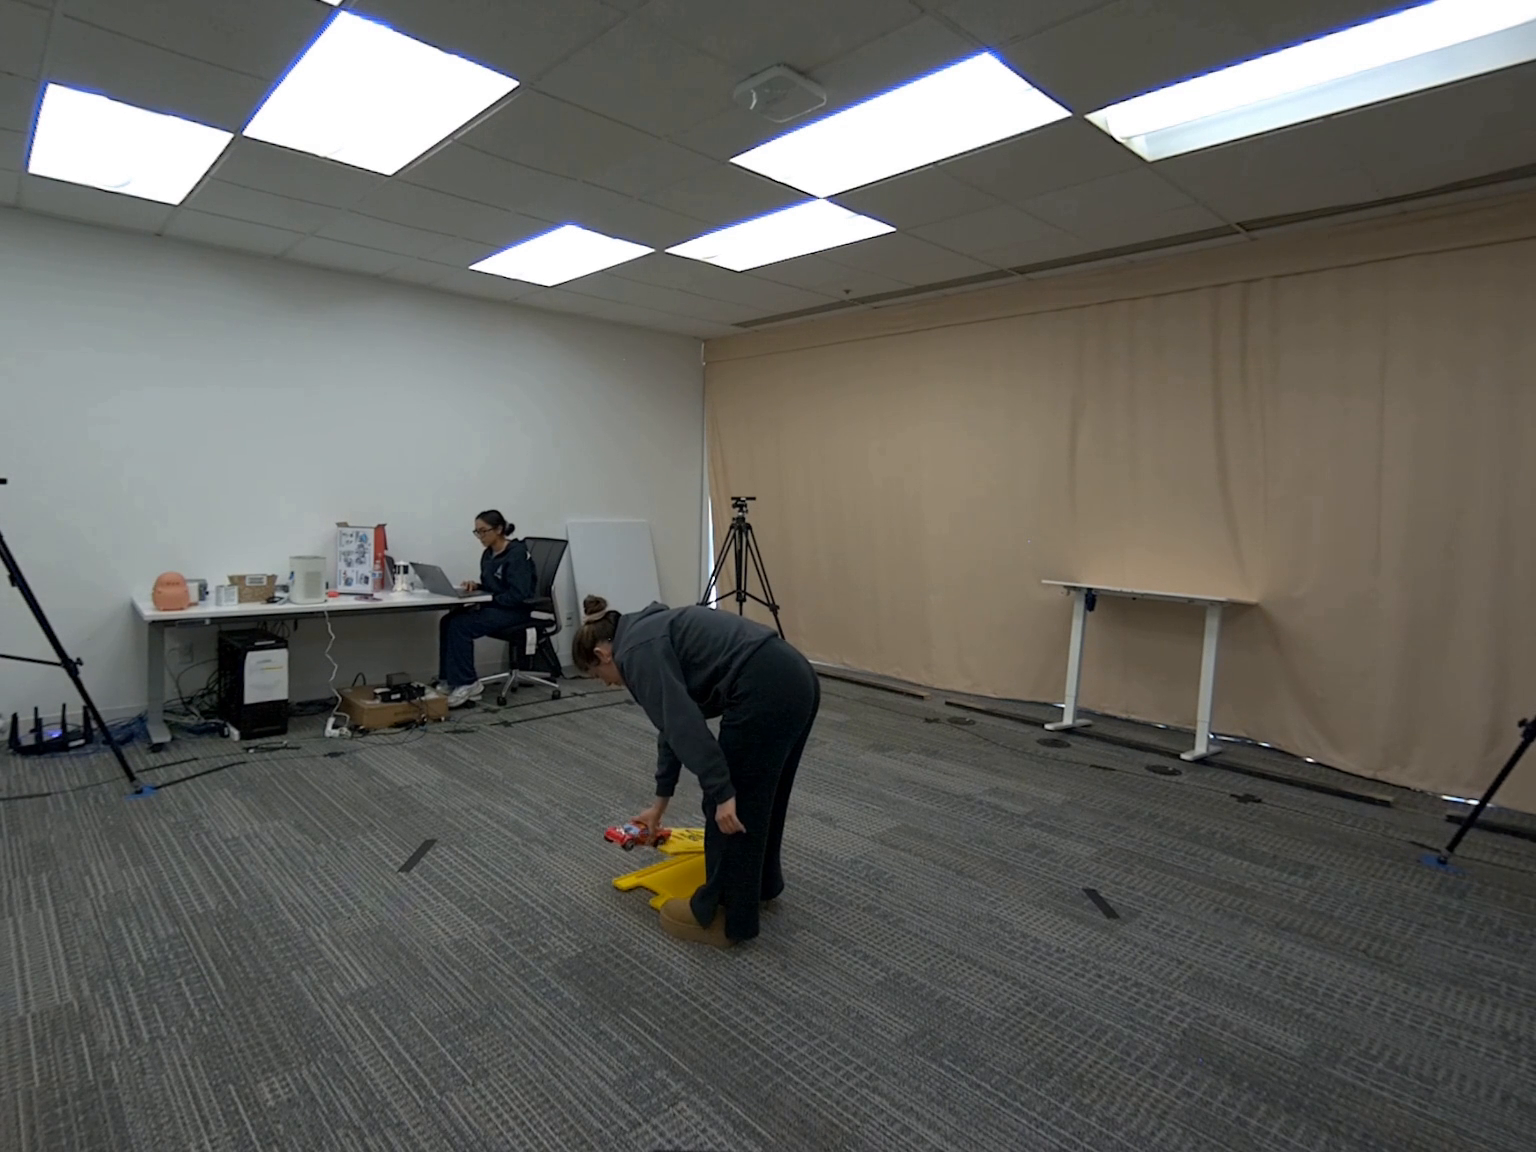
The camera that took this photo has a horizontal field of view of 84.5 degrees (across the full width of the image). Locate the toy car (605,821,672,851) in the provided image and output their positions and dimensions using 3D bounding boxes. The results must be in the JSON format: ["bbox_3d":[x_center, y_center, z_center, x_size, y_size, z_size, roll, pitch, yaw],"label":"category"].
[{"bbox_3d":[-0.446,0.891,2.909,0.134,0.083,0.248,7,3,39],"label":"toy car"}]
